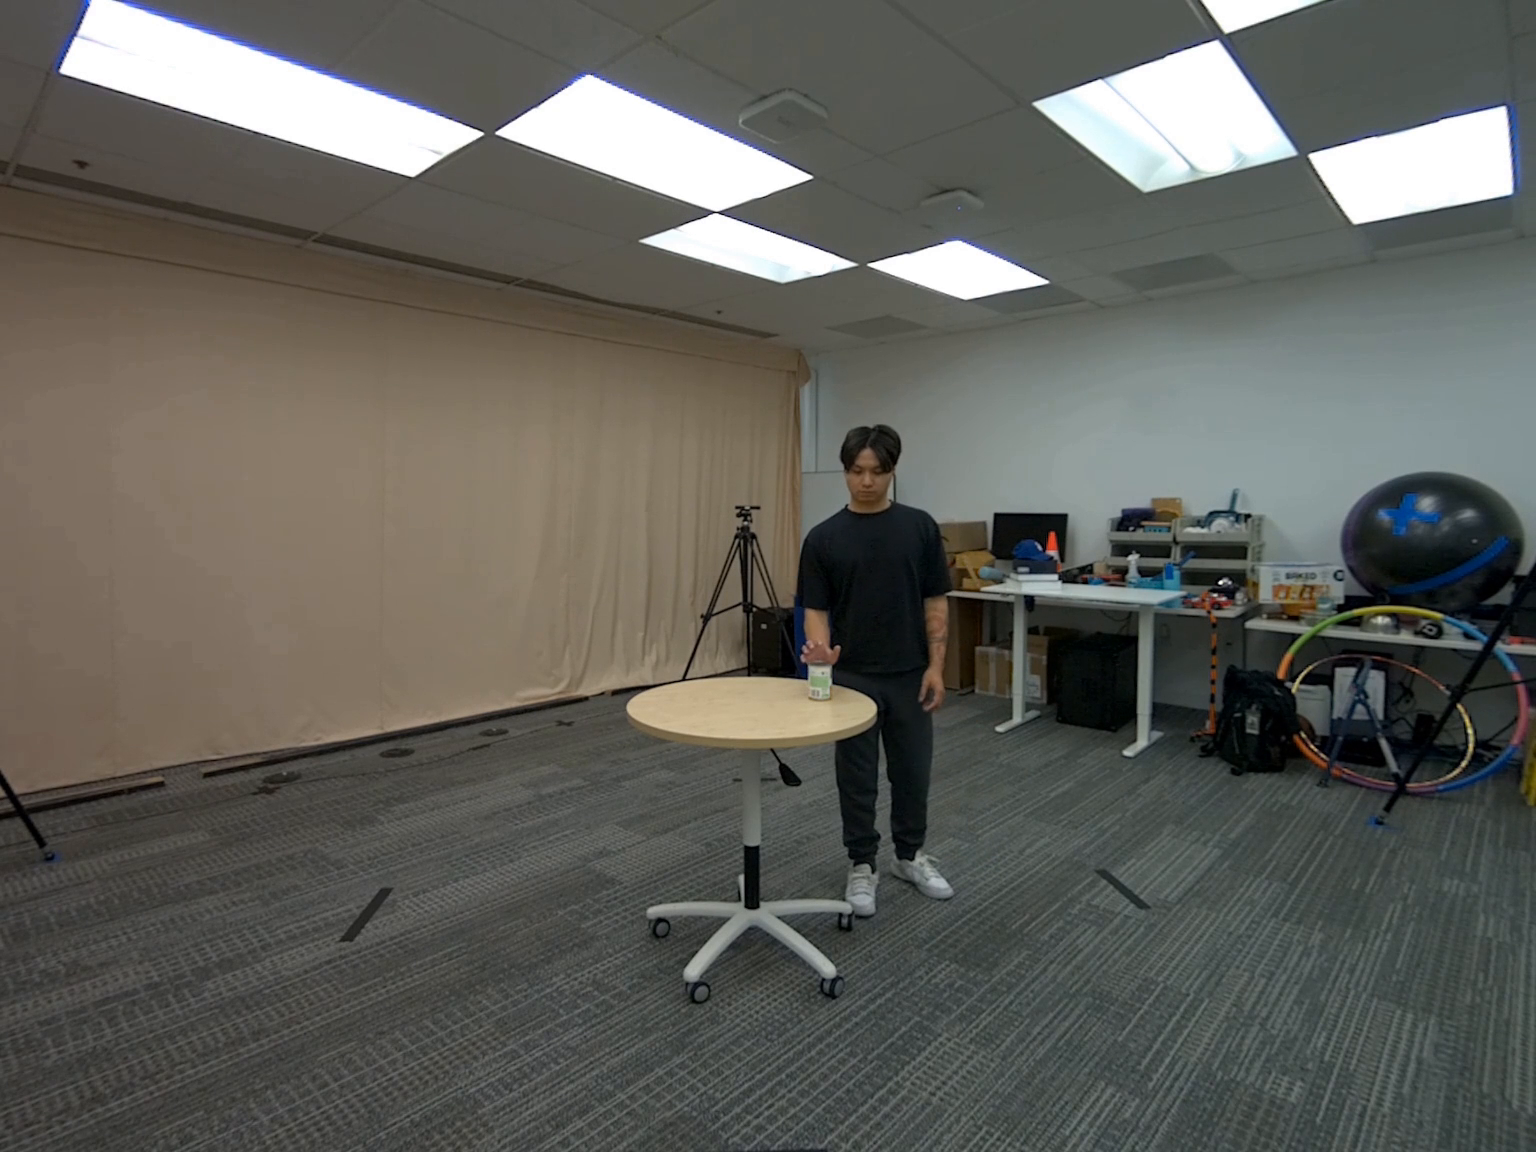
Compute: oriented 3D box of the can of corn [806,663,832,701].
[{"bbox_3d":[0.169,0.335,2.646,0.074,0.111,0.074,0,2,-2],"label":"can of corn"}]
